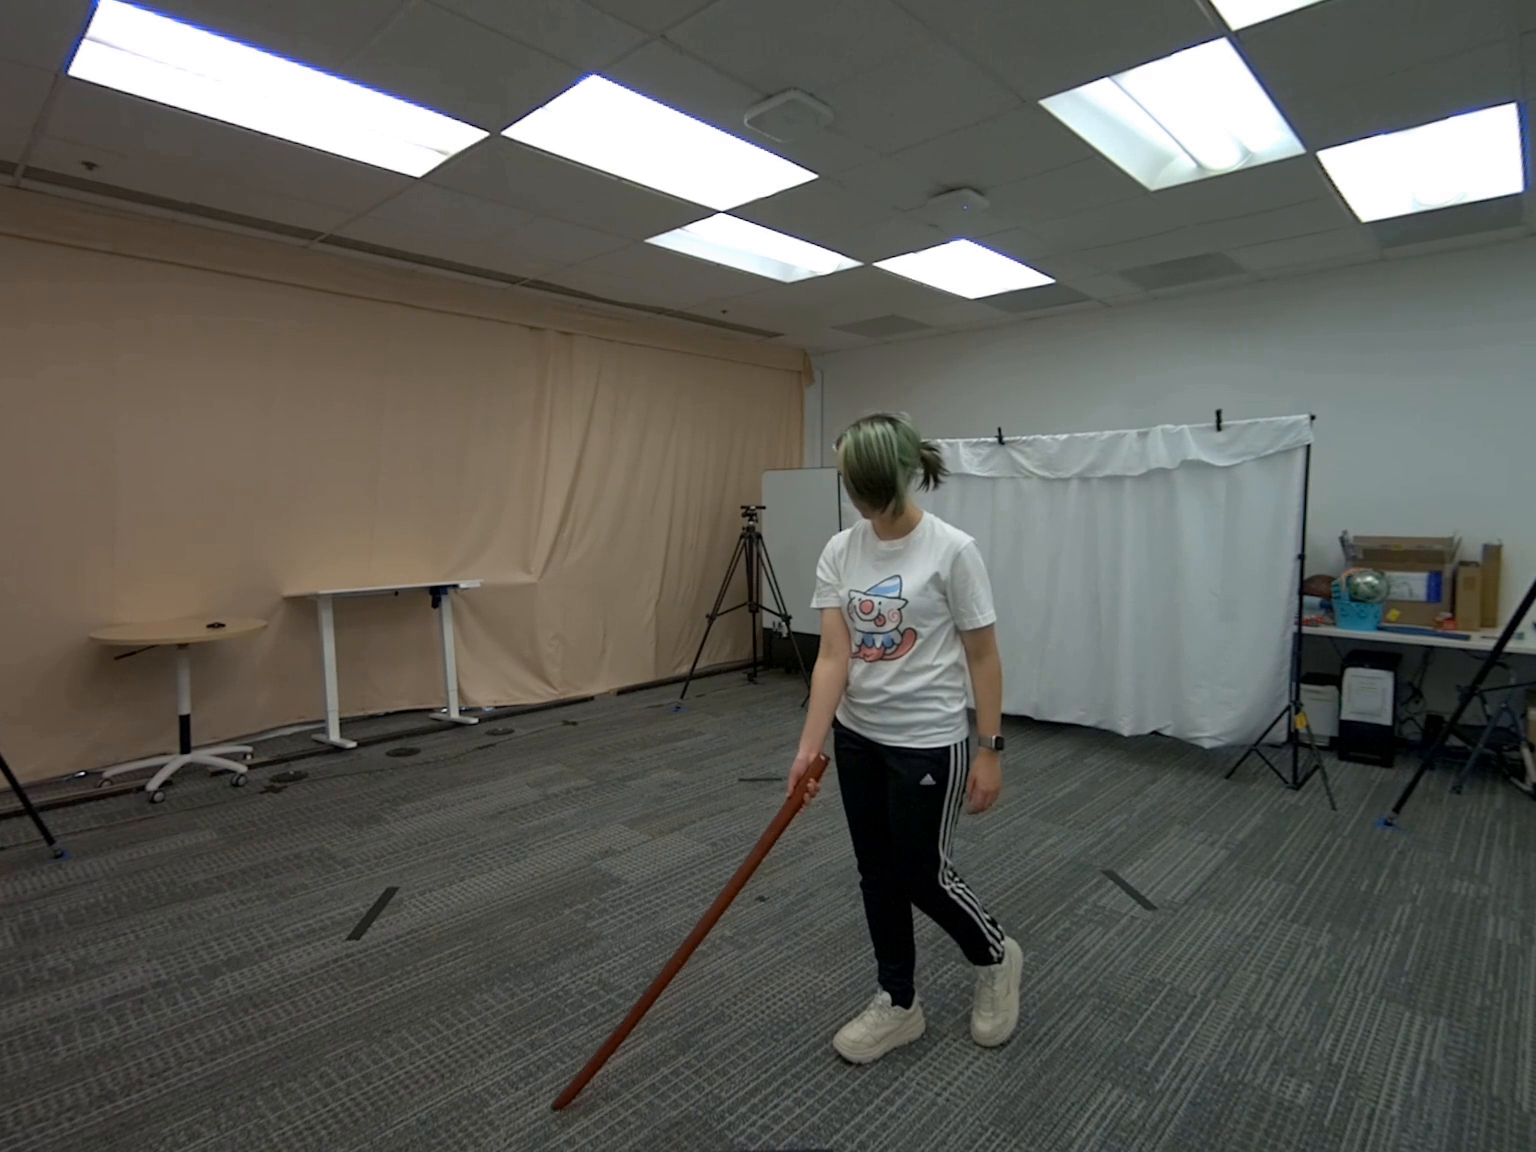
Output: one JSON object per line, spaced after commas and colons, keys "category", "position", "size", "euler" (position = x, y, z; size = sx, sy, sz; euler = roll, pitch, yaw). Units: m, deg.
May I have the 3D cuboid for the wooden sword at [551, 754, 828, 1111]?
{"category": "wooden sword", "position": [-0.164, 0.844, 1.988], "size": [0.024, 1.023, 0.051], "euler": [39, -8, -2]}
